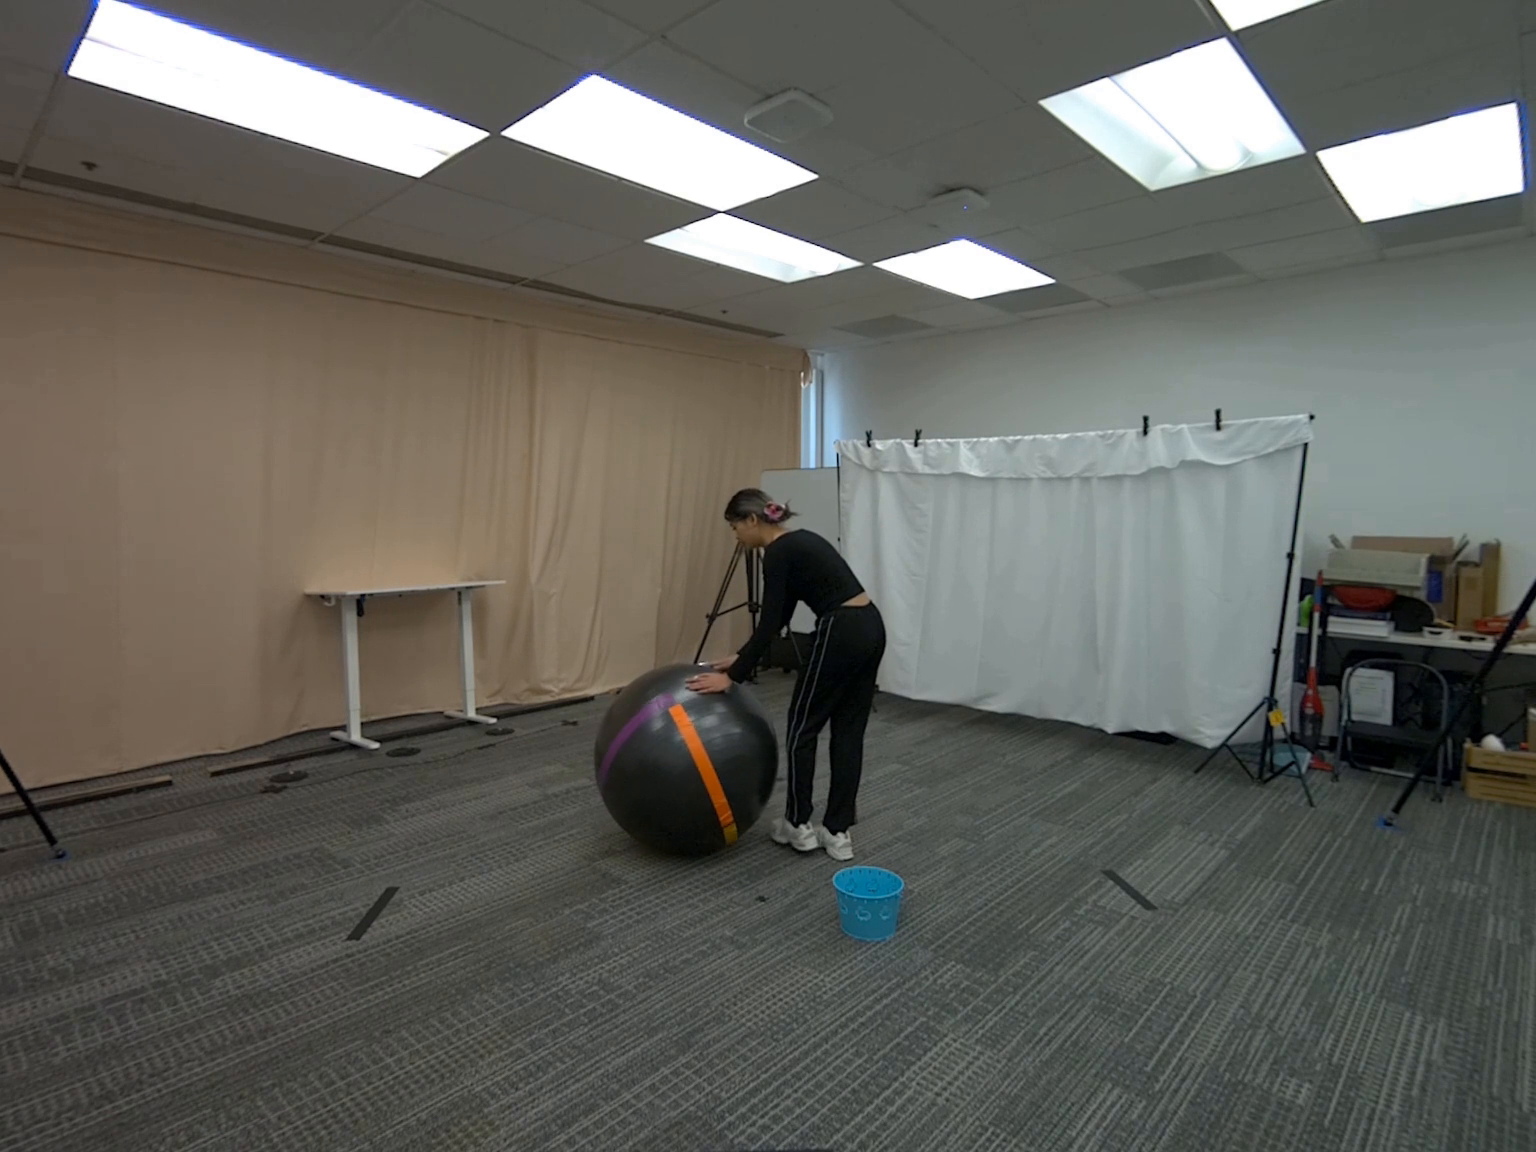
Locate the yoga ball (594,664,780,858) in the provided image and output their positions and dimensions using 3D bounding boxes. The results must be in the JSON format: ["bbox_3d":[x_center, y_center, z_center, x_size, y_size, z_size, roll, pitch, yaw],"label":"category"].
[{"bbox_3d":[-0.338,0.742,3.460,0.757,0.756,0.760,0,4,-2],"label":"yoga ball"}]
